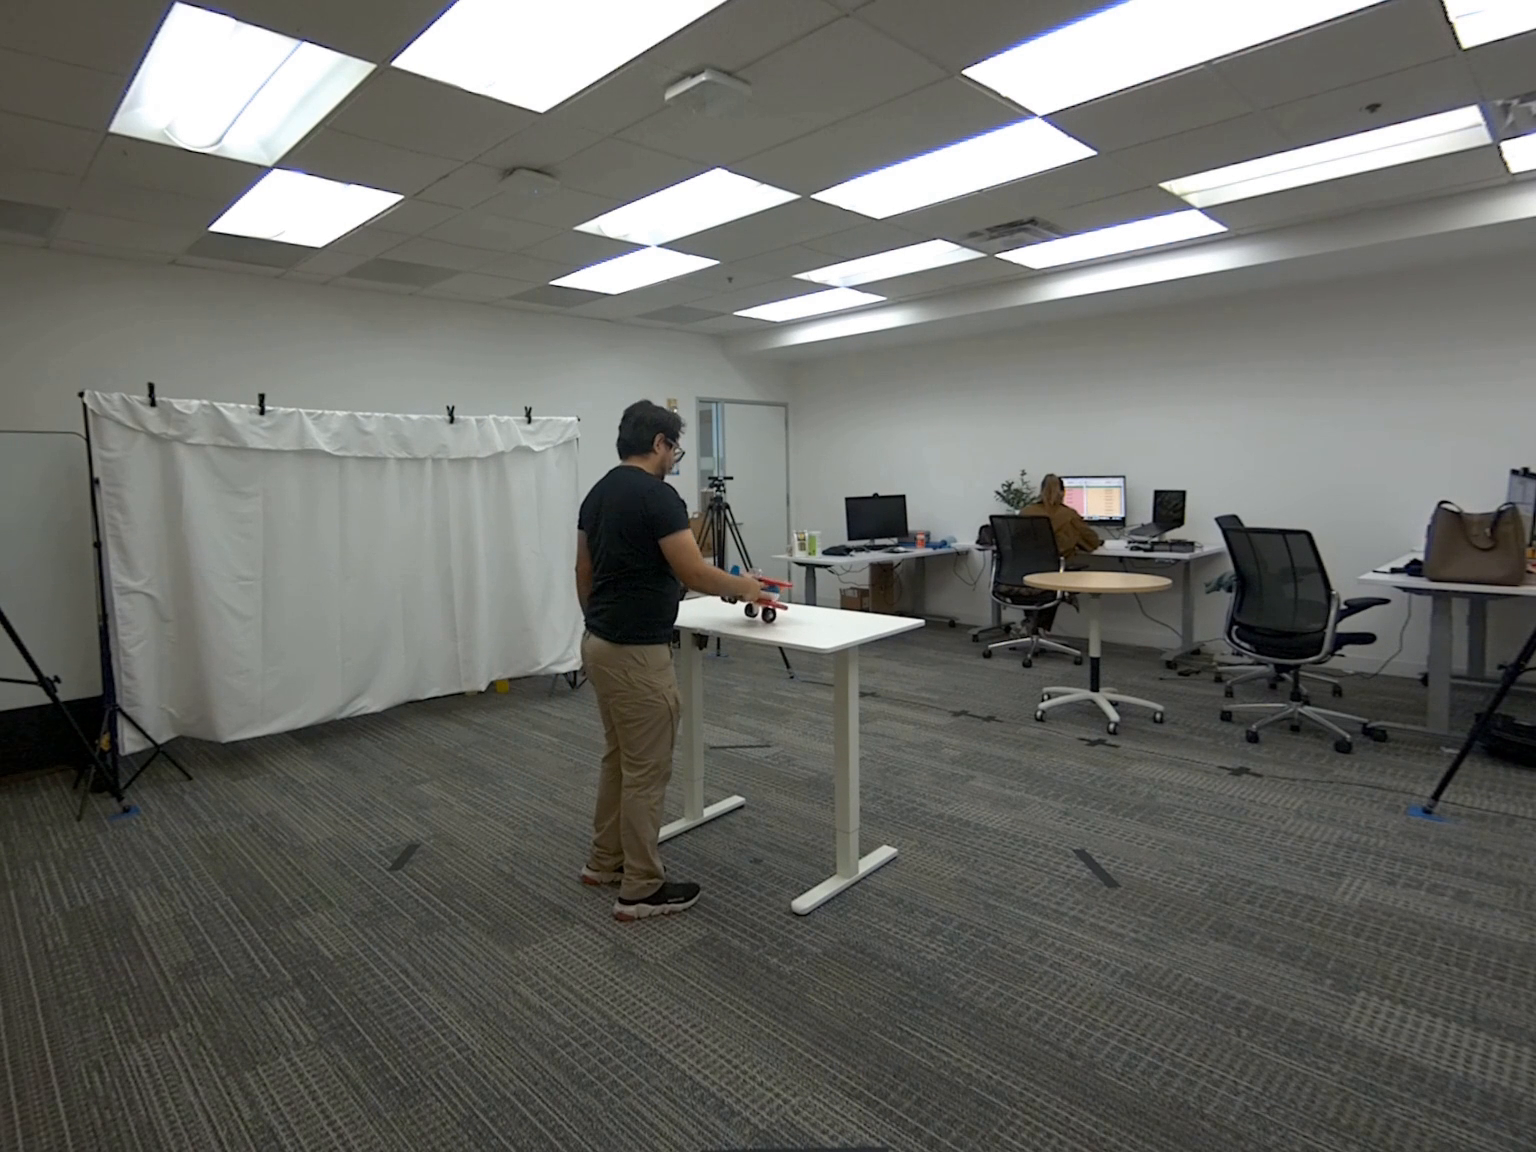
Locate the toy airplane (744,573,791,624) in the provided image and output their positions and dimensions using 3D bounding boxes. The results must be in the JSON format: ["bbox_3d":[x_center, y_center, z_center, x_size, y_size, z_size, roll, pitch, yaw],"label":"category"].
[{"bbox_3d":[-0.042,0.057,2.981,0.256,0.157,0.253,20,-11,15],"label":"toy airplane"}]
